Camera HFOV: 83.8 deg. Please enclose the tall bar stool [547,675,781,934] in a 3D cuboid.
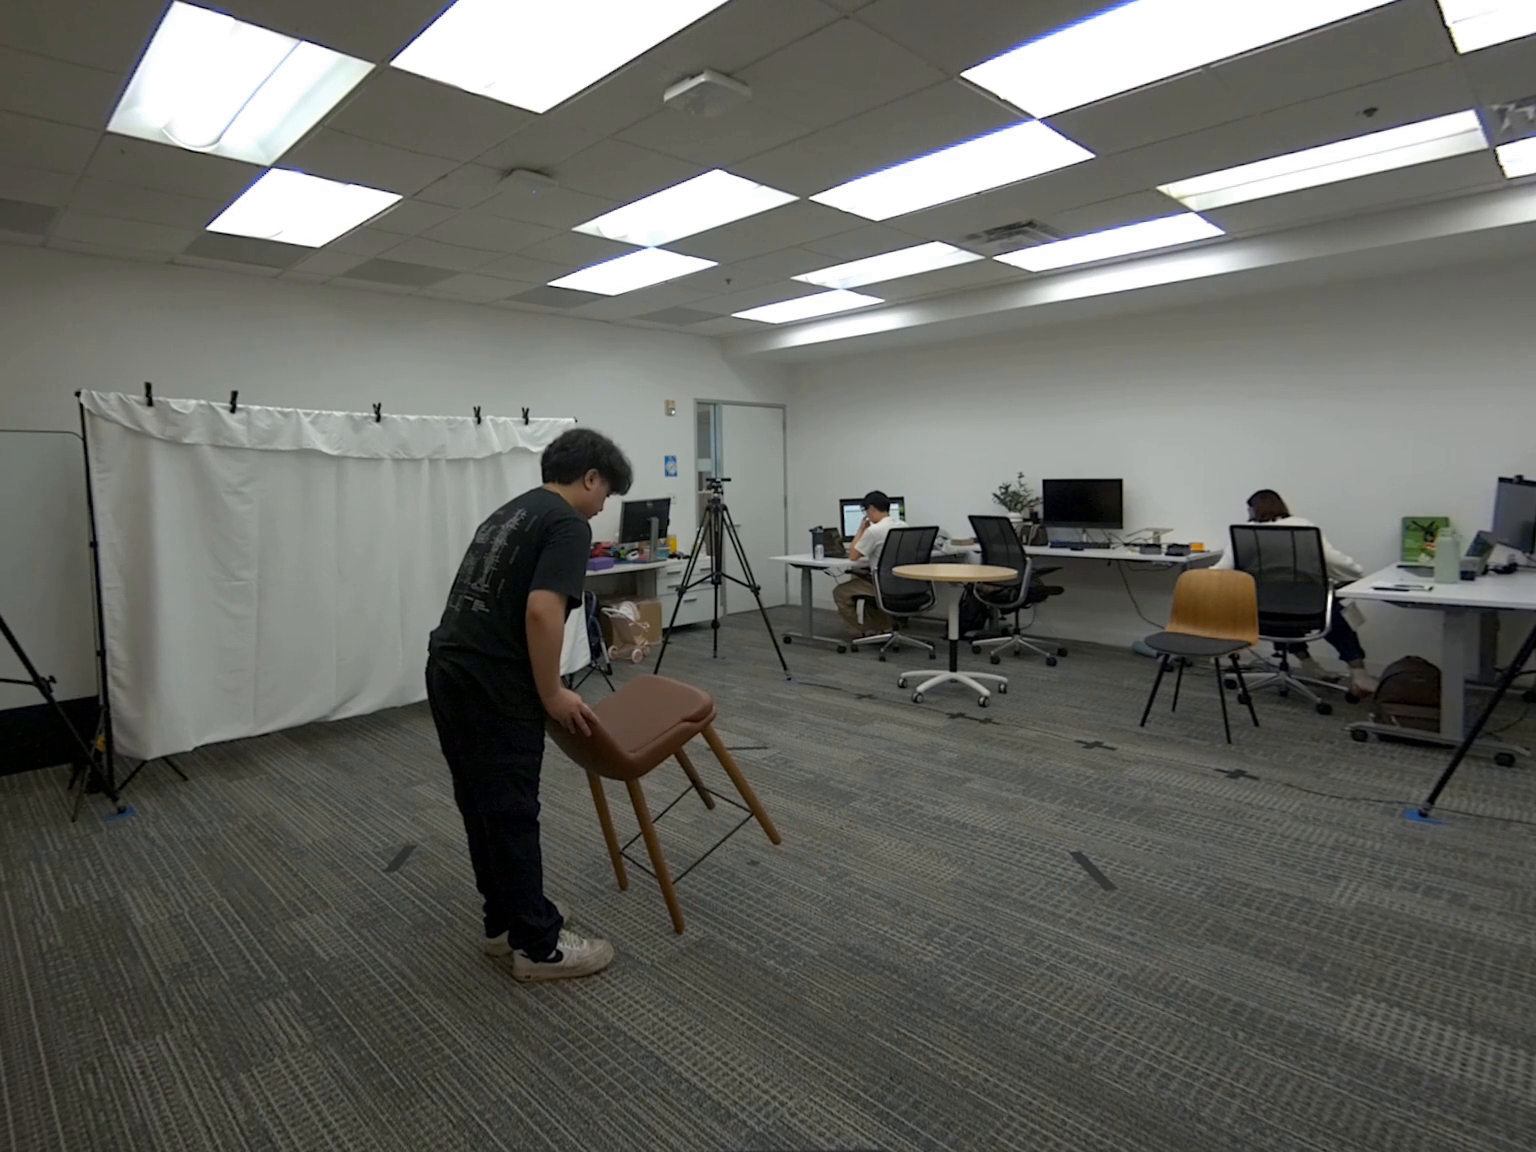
[{"bbox_3d":[-0.384,0.606,2.755,0.464,0.870,0.470,-35,23,-30],"label":"tall bar stool"}]
